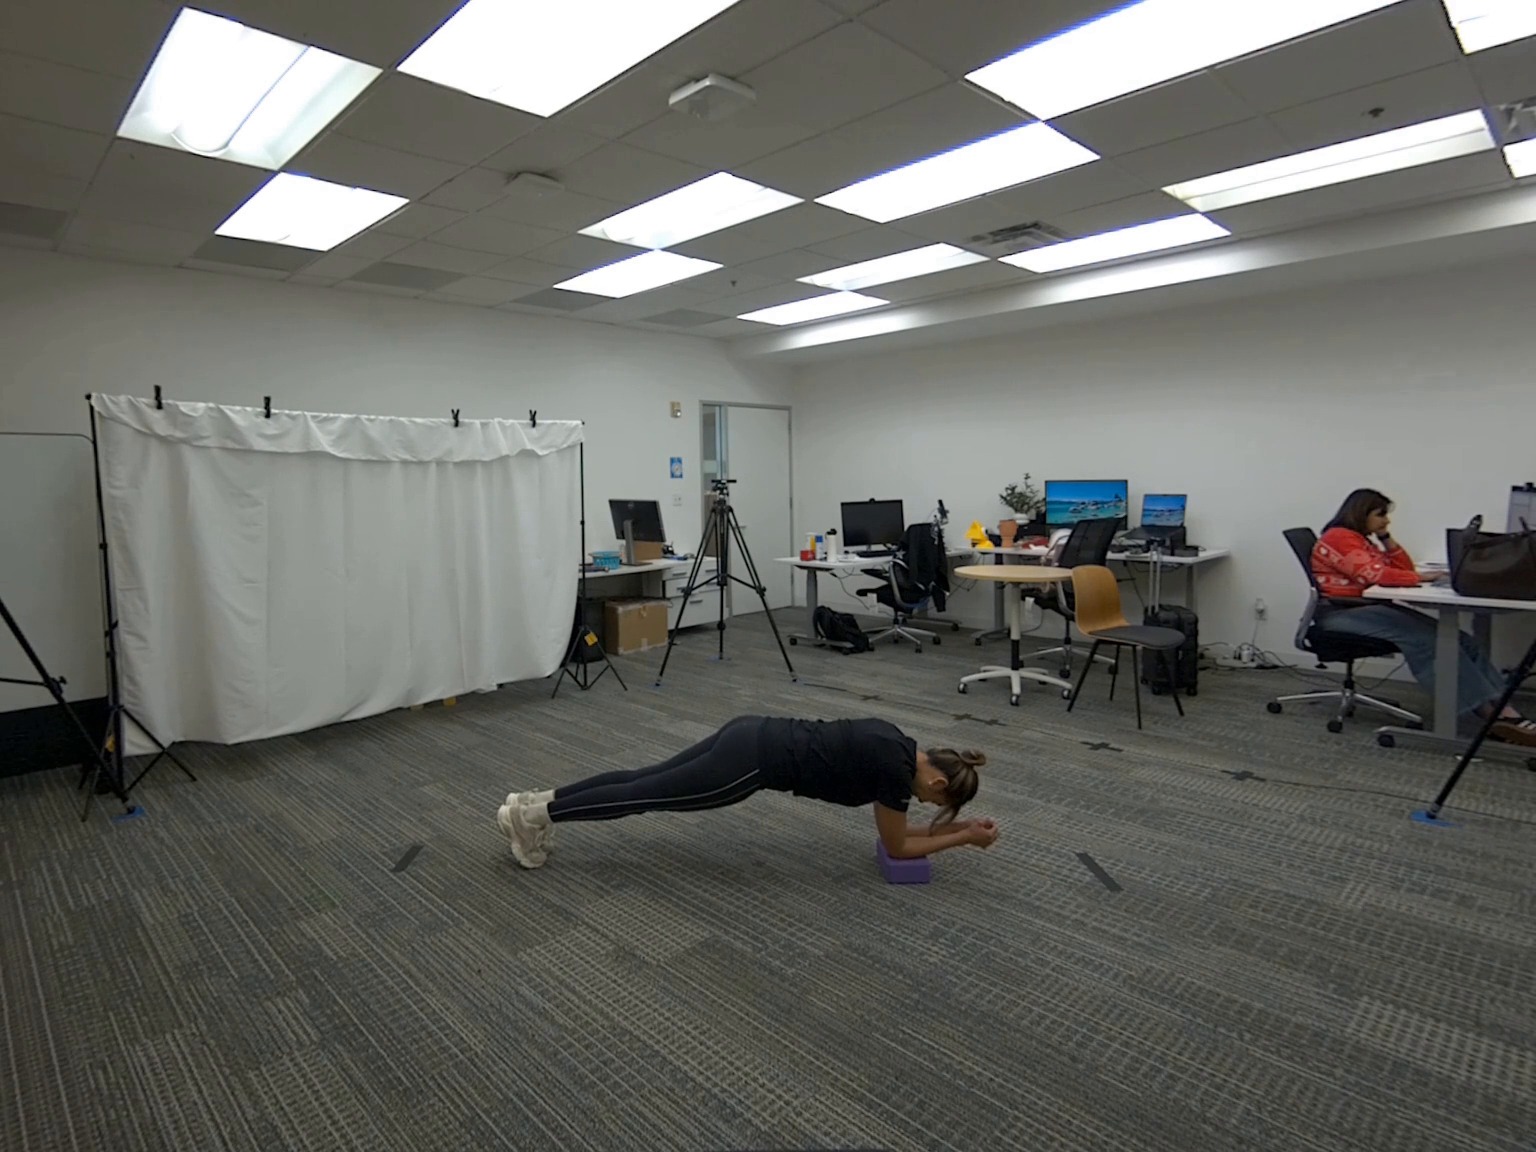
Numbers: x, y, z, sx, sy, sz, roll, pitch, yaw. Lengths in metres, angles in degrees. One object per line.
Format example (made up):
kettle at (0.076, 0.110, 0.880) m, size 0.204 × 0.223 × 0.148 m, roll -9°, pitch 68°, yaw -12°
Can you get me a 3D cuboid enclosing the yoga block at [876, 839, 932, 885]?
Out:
yoga block at (0.477, 0.997, 3.041) m, size 0.149 × 0.076 × 0.230 m, roll 1°, pitch 6°, yaw 0°
